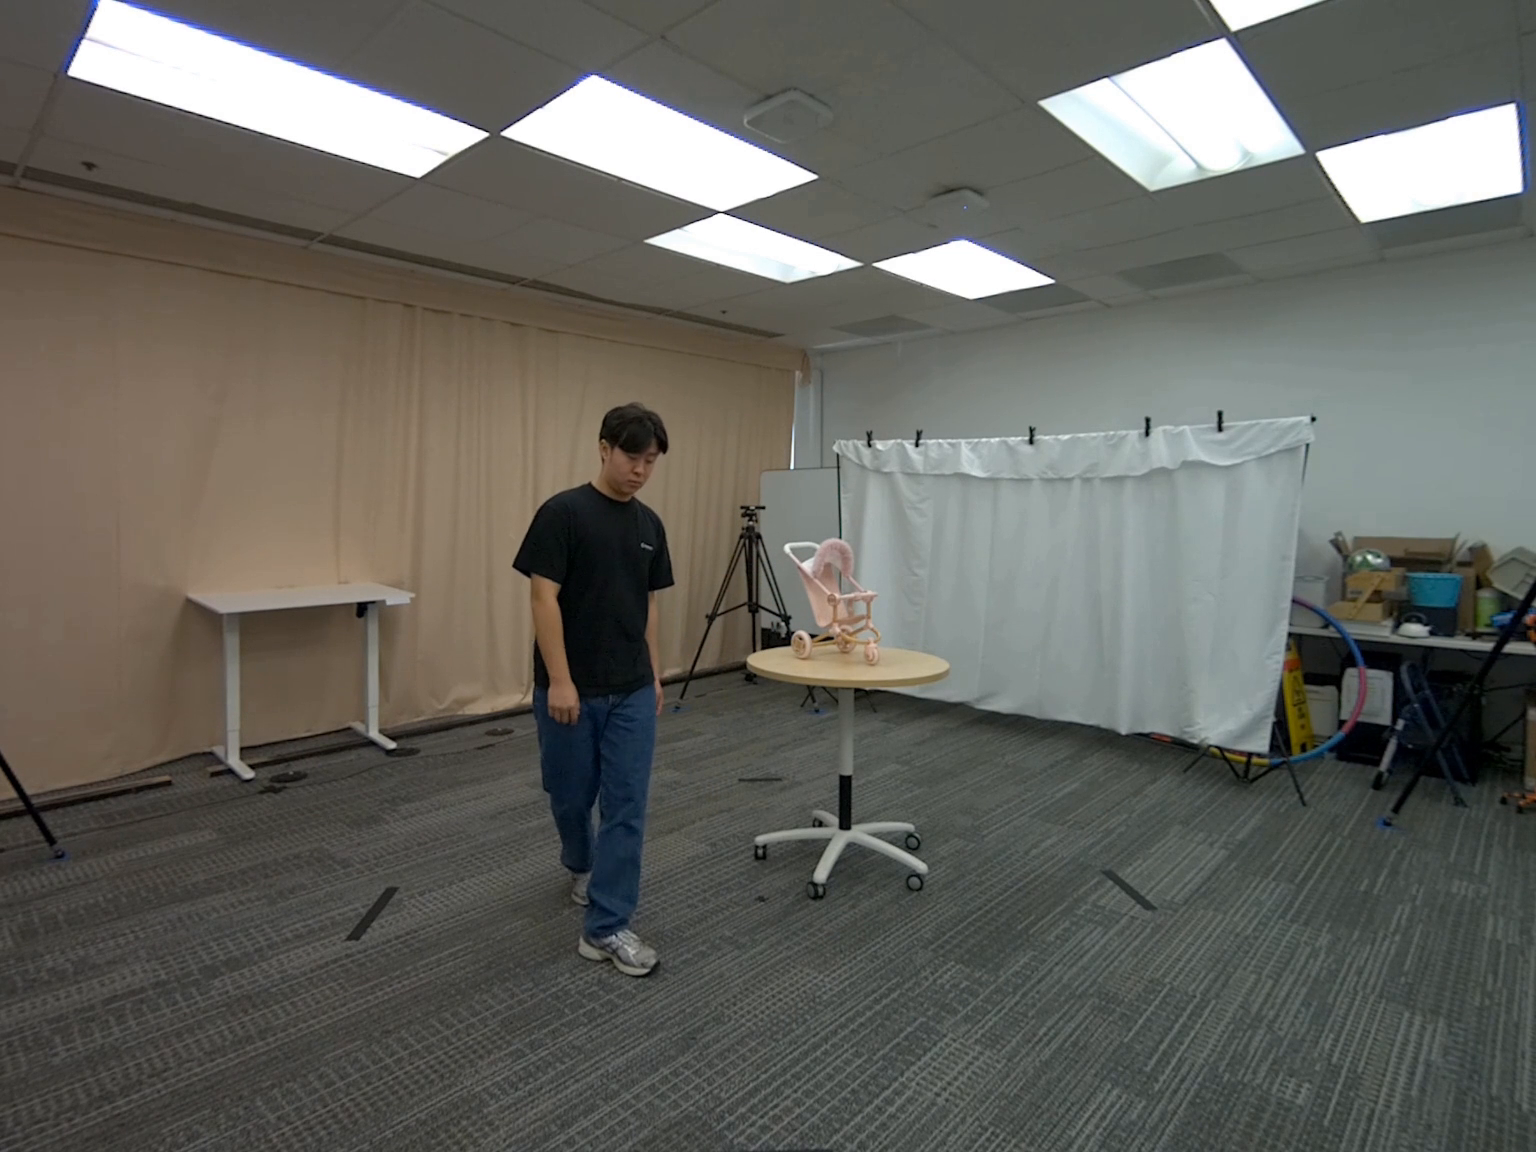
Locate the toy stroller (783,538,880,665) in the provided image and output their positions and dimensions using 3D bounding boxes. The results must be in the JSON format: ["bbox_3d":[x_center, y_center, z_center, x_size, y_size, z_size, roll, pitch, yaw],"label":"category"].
[{"bbox_3d":[0.269,0.098,3.280,0.273,0.539,0.349,-2,-10,-35],"label":"toy stroller"}]
